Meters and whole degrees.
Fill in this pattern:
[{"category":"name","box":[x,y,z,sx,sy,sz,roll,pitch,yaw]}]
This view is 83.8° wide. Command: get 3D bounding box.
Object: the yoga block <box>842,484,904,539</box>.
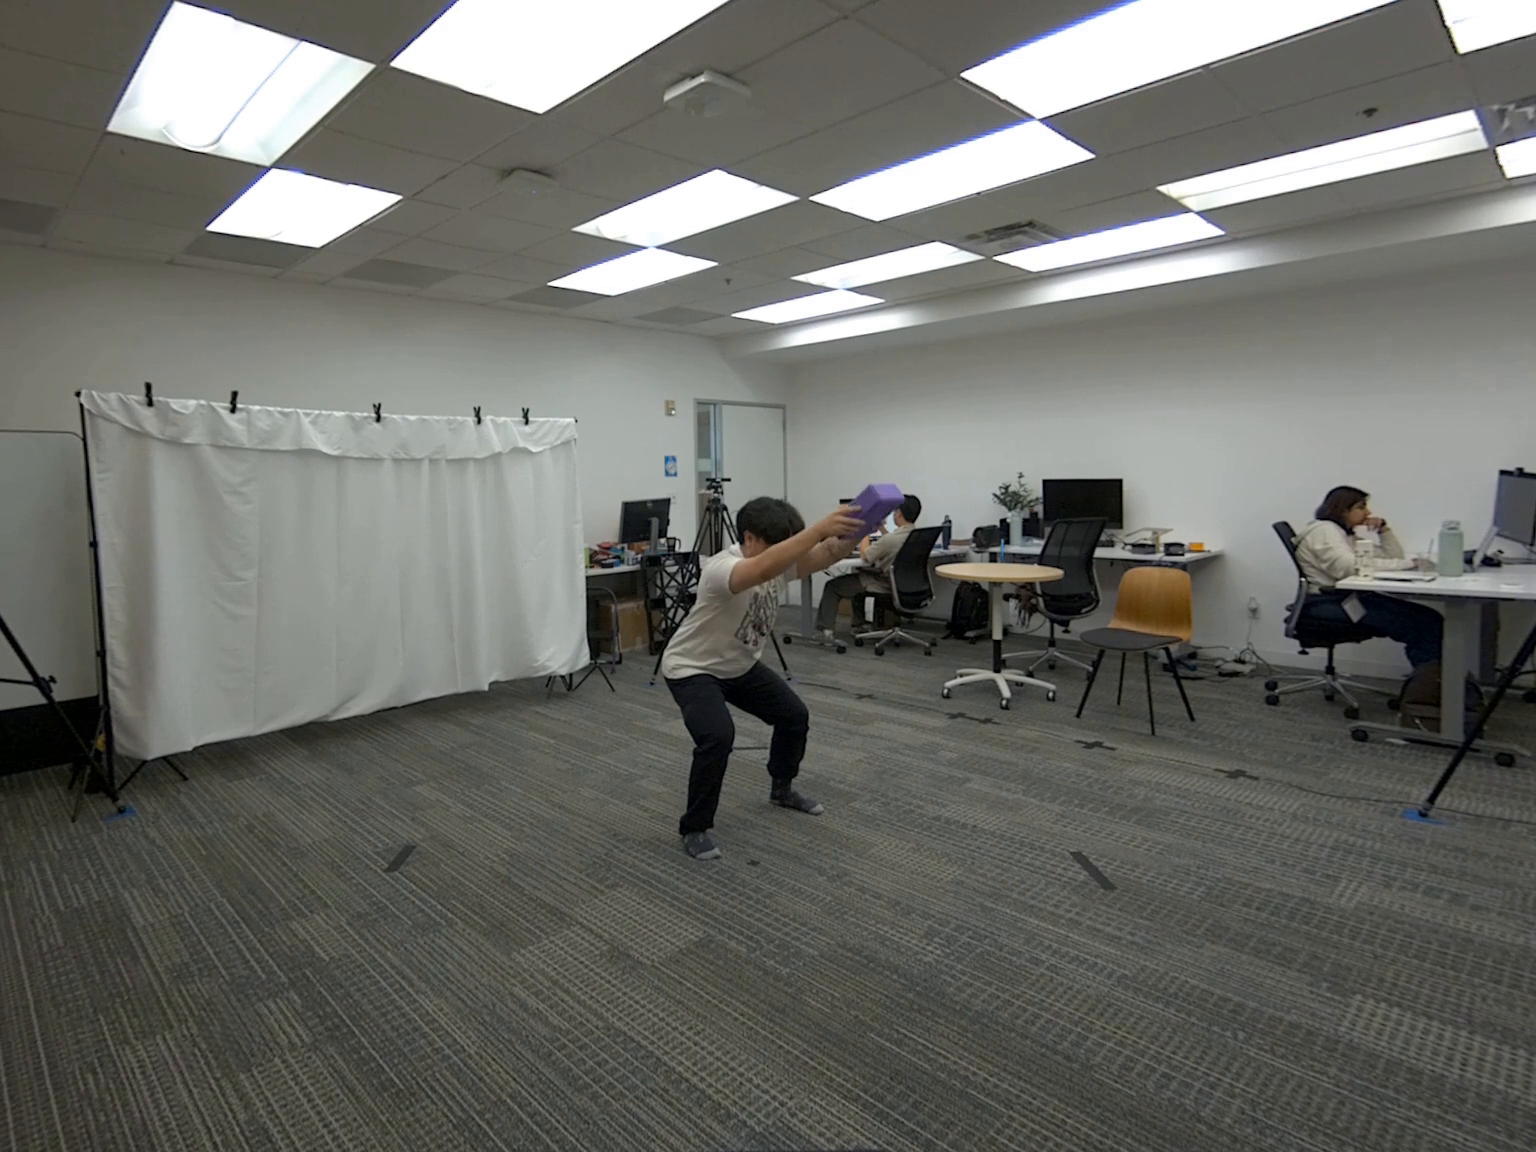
[{"category":"yoga block","box":[0.335,-0.214,2.909,0.145,0.078,0.229,-7,-29,-46]}]
